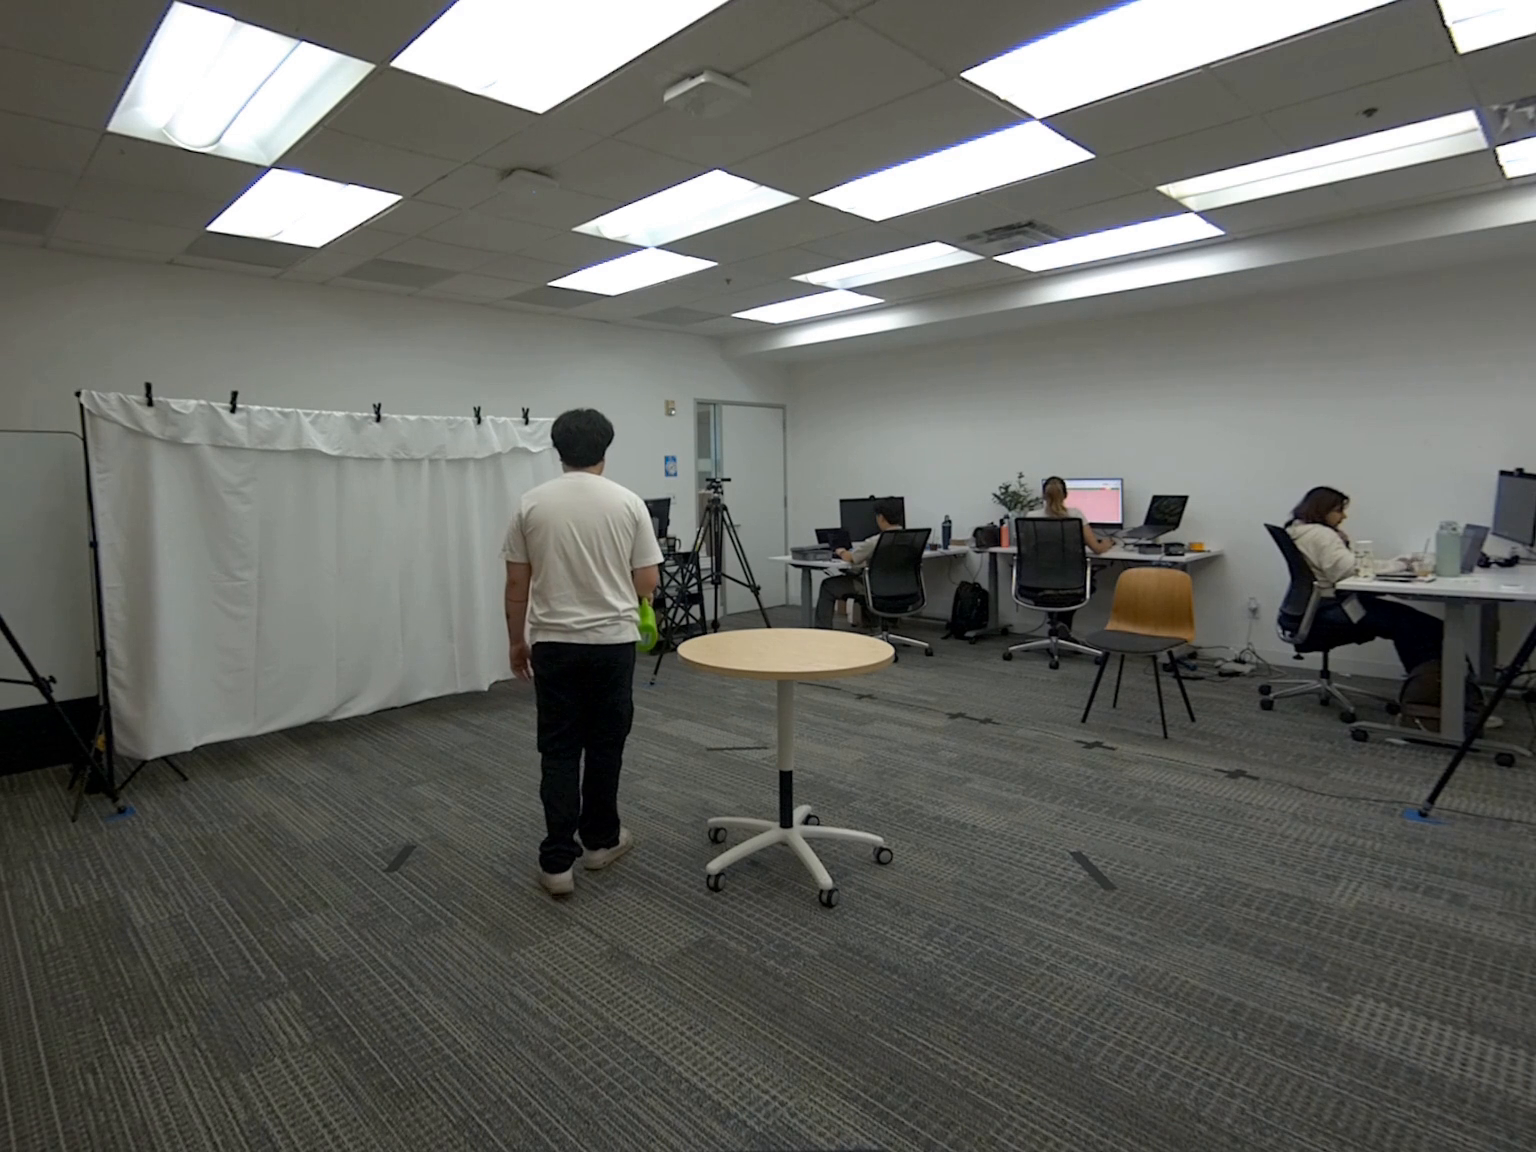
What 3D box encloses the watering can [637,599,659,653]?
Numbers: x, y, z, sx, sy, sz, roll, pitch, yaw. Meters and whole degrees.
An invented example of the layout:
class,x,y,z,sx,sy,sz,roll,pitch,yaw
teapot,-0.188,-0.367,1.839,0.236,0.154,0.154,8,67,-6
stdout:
class,x,y,z,sx,sy,sz,roll,pitch,yaw
watering can,-0.474,0.226,3.324,0.098,0.271,0.182,-7,33,-4
